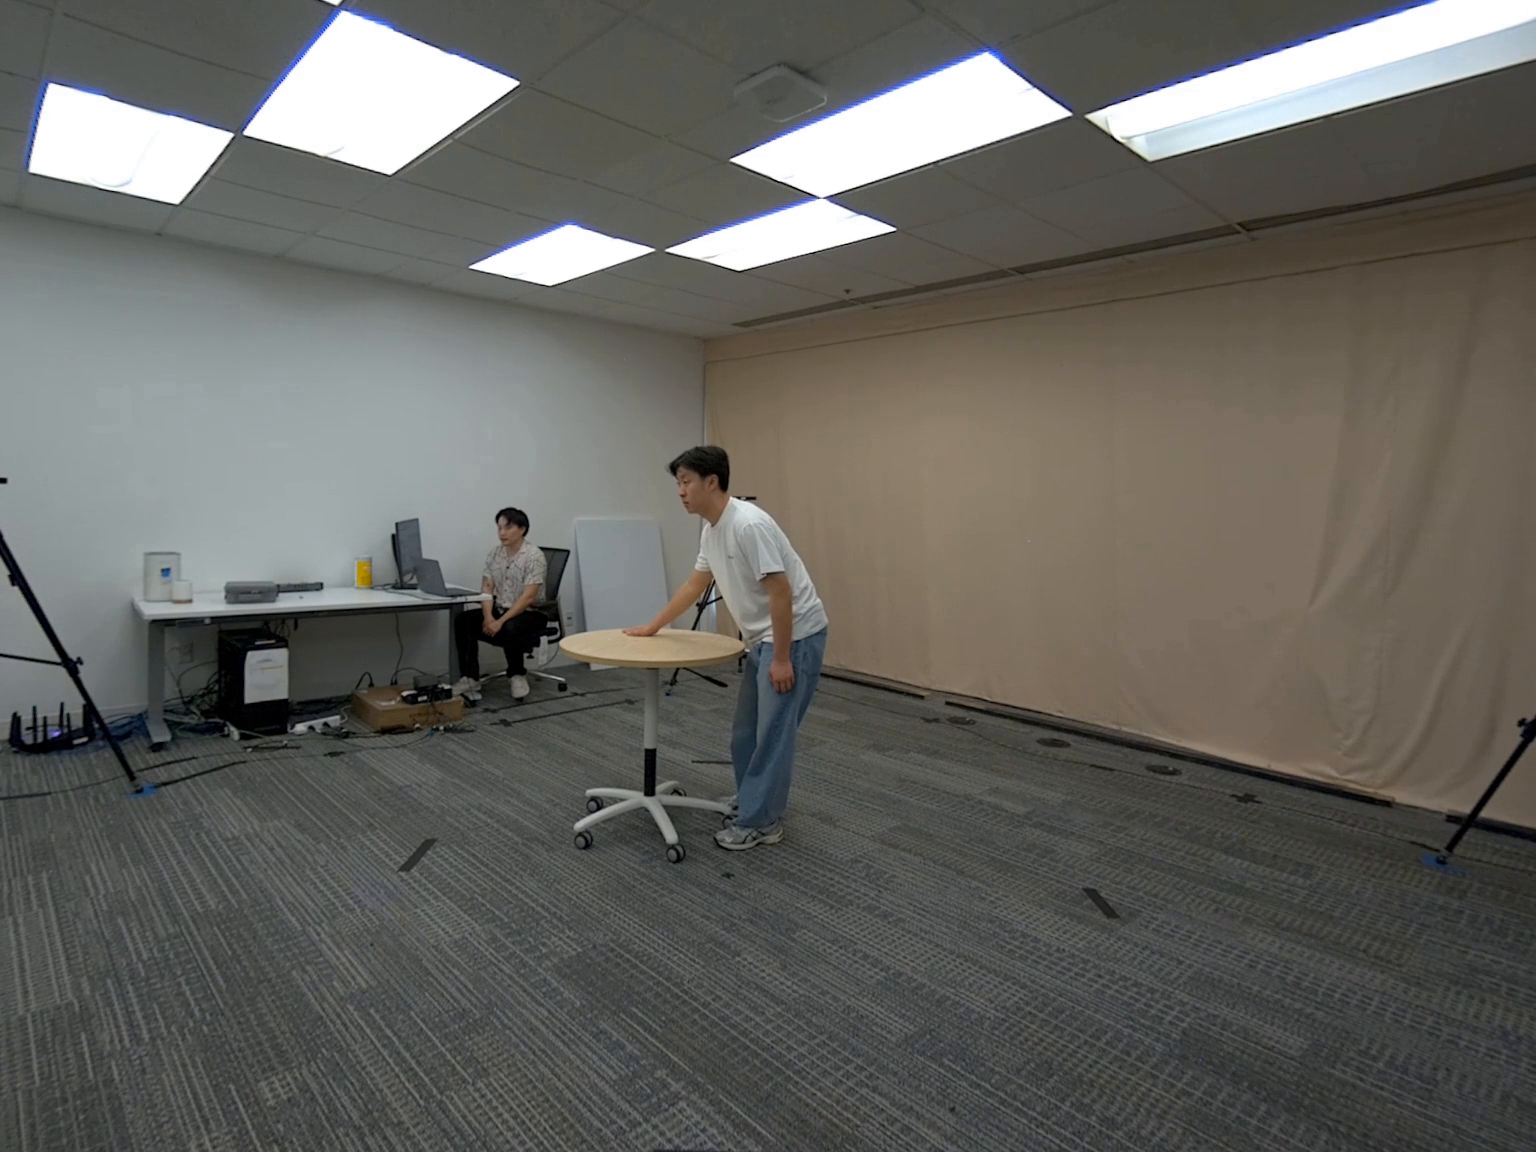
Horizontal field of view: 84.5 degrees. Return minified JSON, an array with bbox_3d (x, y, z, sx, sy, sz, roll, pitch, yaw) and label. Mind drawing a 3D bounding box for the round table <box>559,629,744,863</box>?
[{"bbox_3d":[-0.495,0.669,3.508,0.763,0.792,0.766,1,4,-1],"label":"round table"}]
